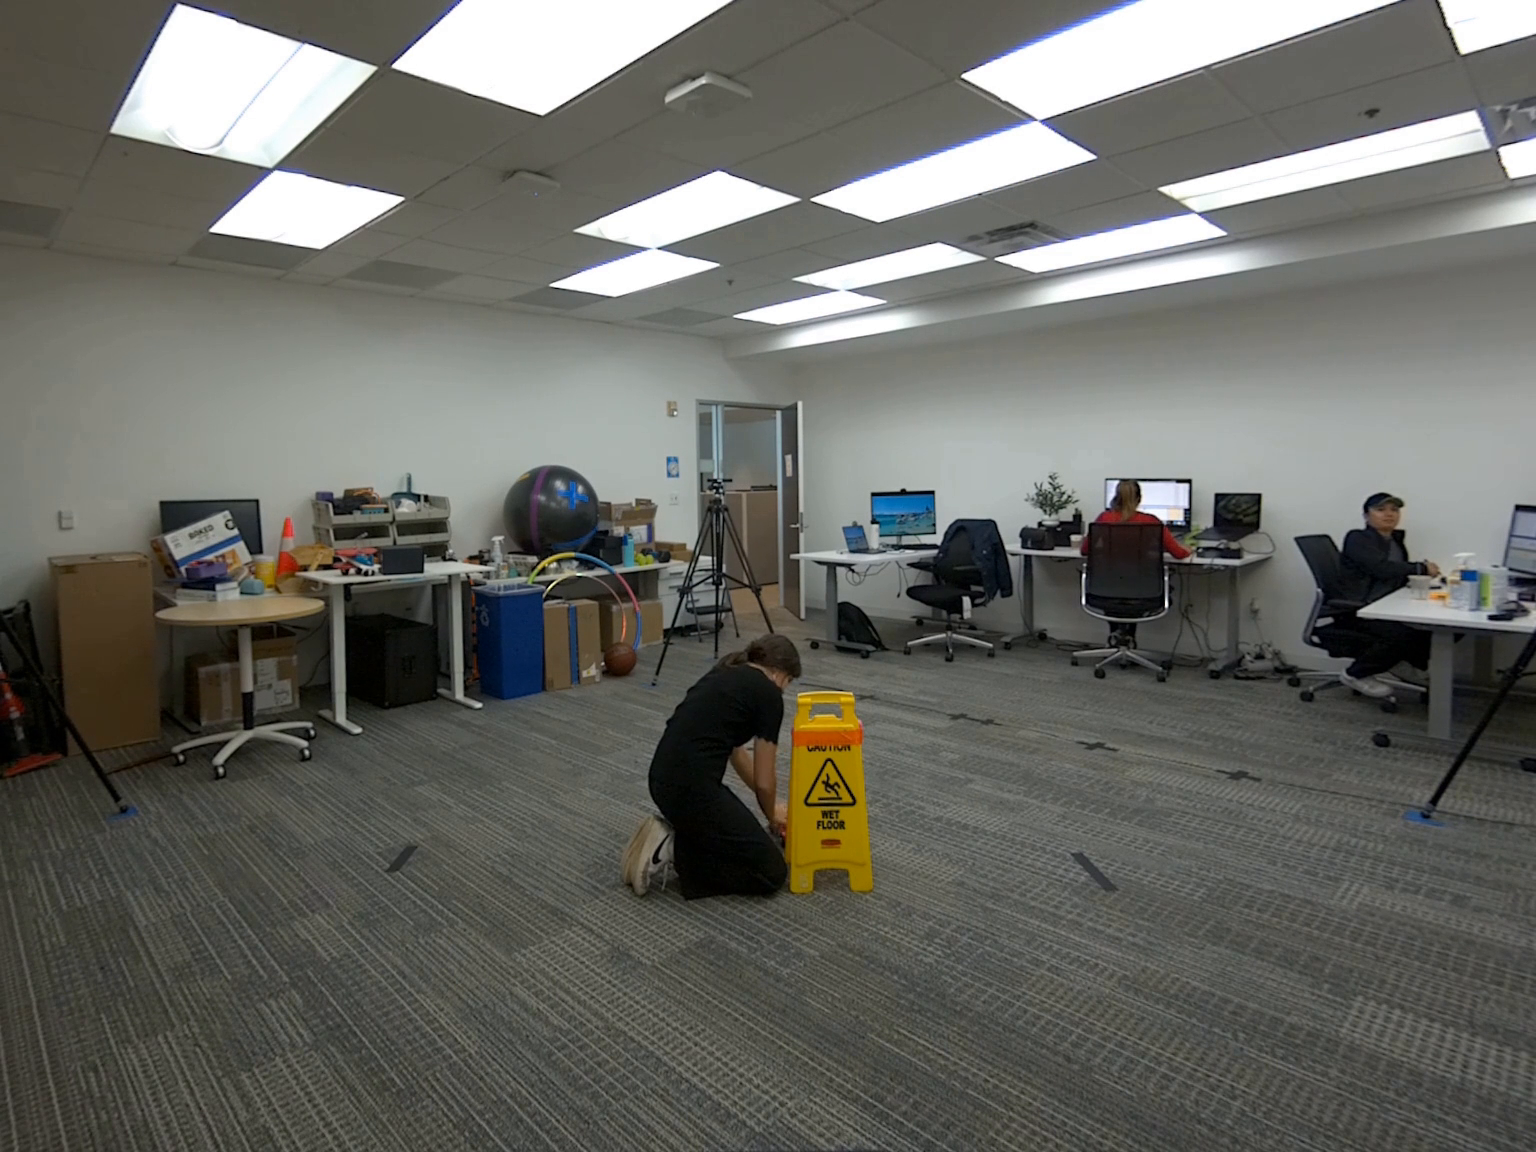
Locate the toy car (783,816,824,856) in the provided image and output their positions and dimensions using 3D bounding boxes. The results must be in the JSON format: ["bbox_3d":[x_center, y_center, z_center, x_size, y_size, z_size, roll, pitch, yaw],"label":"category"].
[{"bbox_3d":[0.103,0.995,3.298,0.128,0.084,0.257,-2,-6,-17],"label":"toy car"}]
